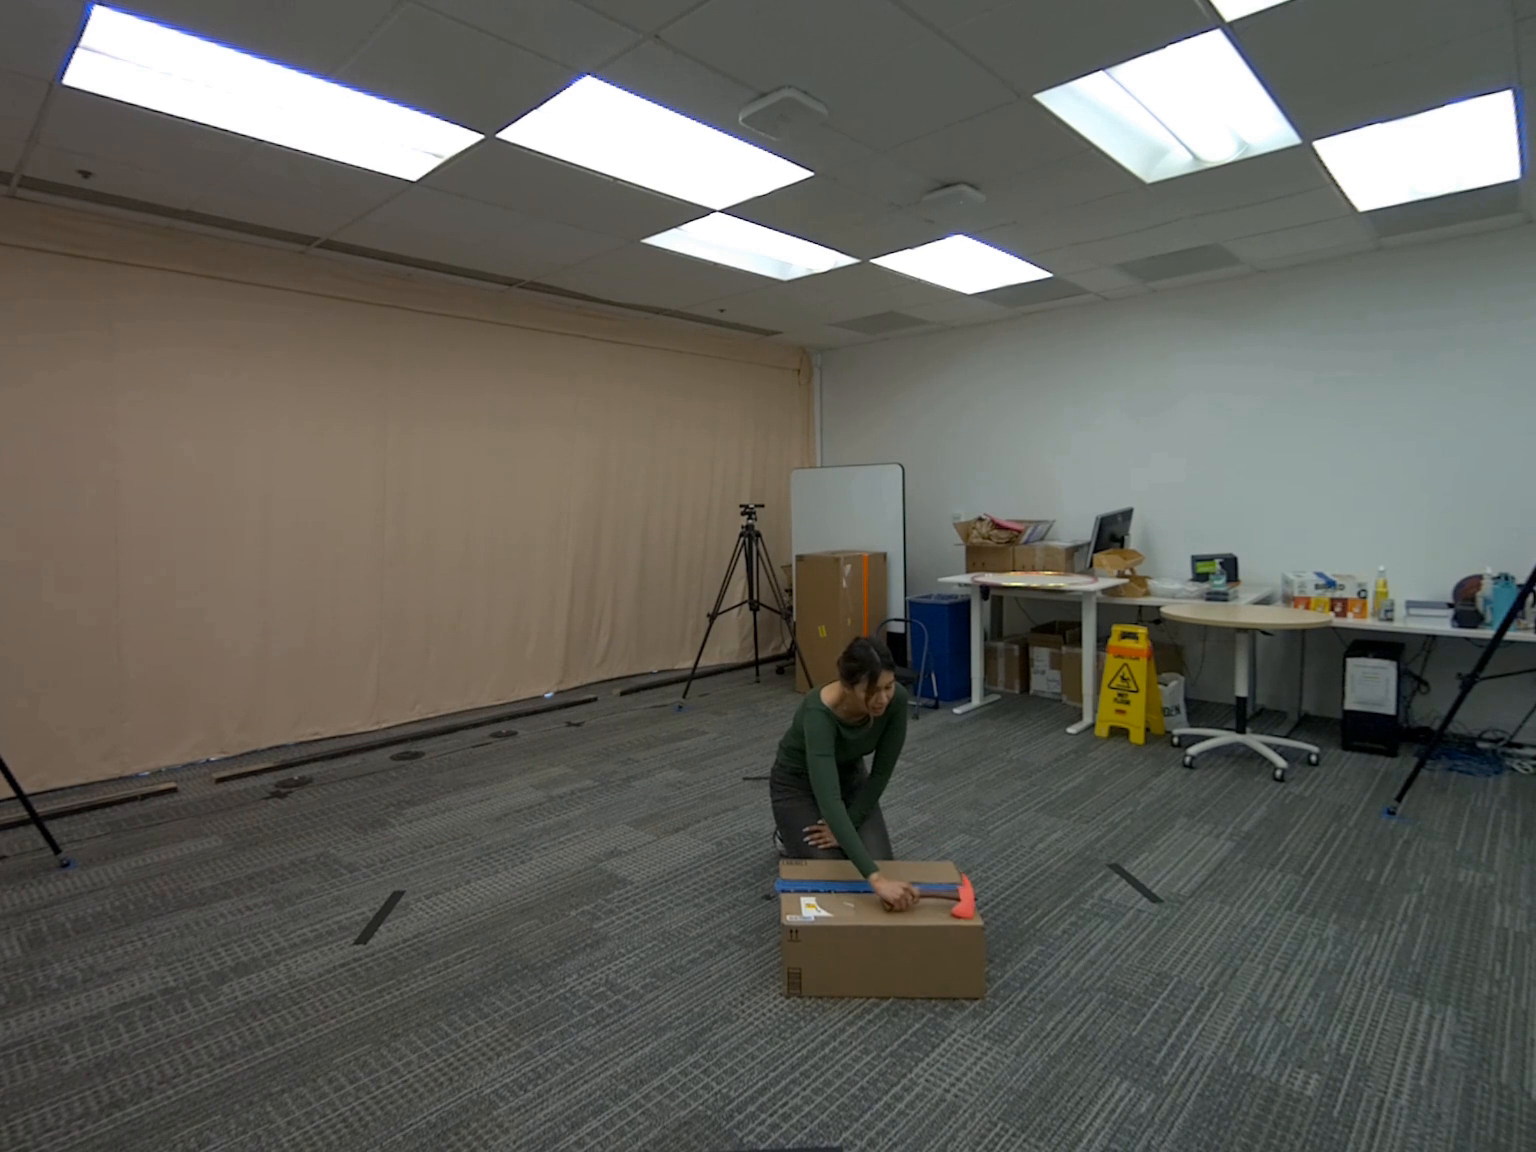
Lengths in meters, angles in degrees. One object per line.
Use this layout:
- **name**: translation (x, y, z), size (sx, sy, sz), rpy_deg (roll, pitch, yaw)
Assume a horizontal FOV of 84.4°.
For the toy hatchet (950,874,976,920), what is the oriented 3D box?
- **toy hatchet**: translation (0.453, 0.924, 2.424), size (0.269, 0.029, 0.134), rpy_deg (-6, 39, -4)
